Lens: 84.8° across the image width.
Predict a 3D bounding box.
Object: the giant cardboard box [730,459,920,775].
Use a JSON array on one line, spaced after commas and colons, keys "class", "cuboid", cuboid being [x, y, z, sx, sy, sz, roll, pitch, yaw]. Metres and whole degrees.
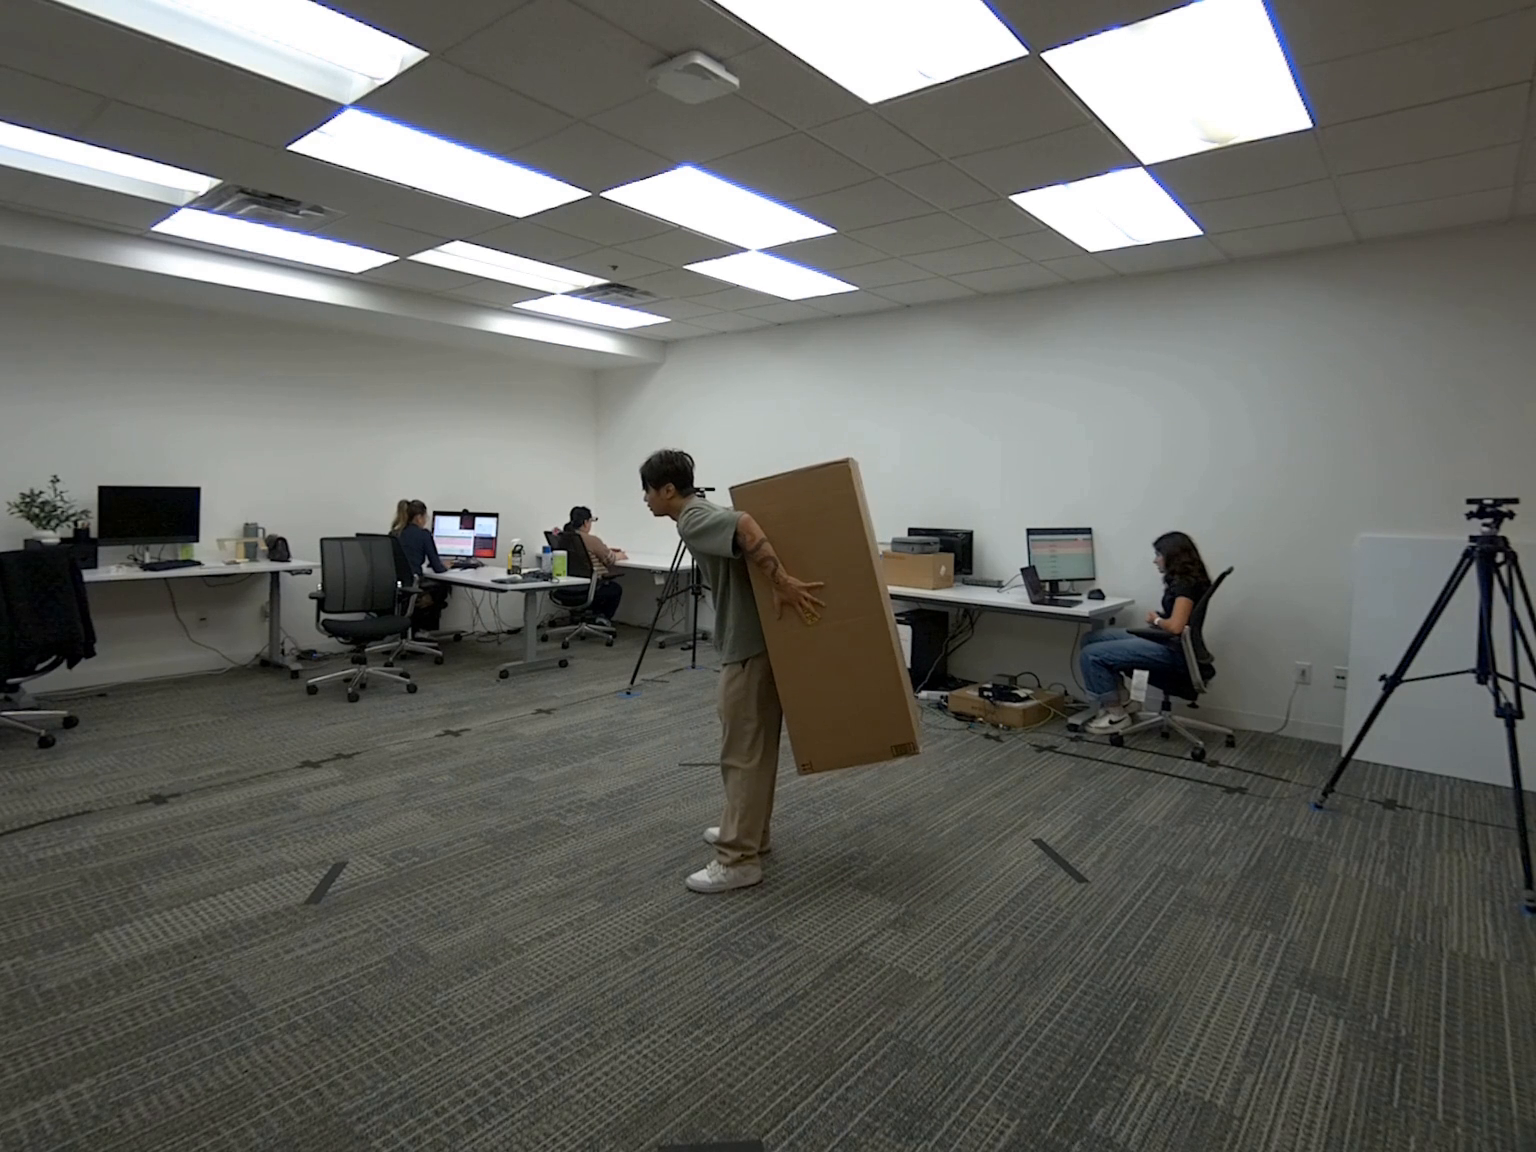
[{"class": "giant cardboard box", "cuboid": [0.221, 0.116, 3.141, 0.430, 1.025, 0.573, -13, 1, 11]}]
